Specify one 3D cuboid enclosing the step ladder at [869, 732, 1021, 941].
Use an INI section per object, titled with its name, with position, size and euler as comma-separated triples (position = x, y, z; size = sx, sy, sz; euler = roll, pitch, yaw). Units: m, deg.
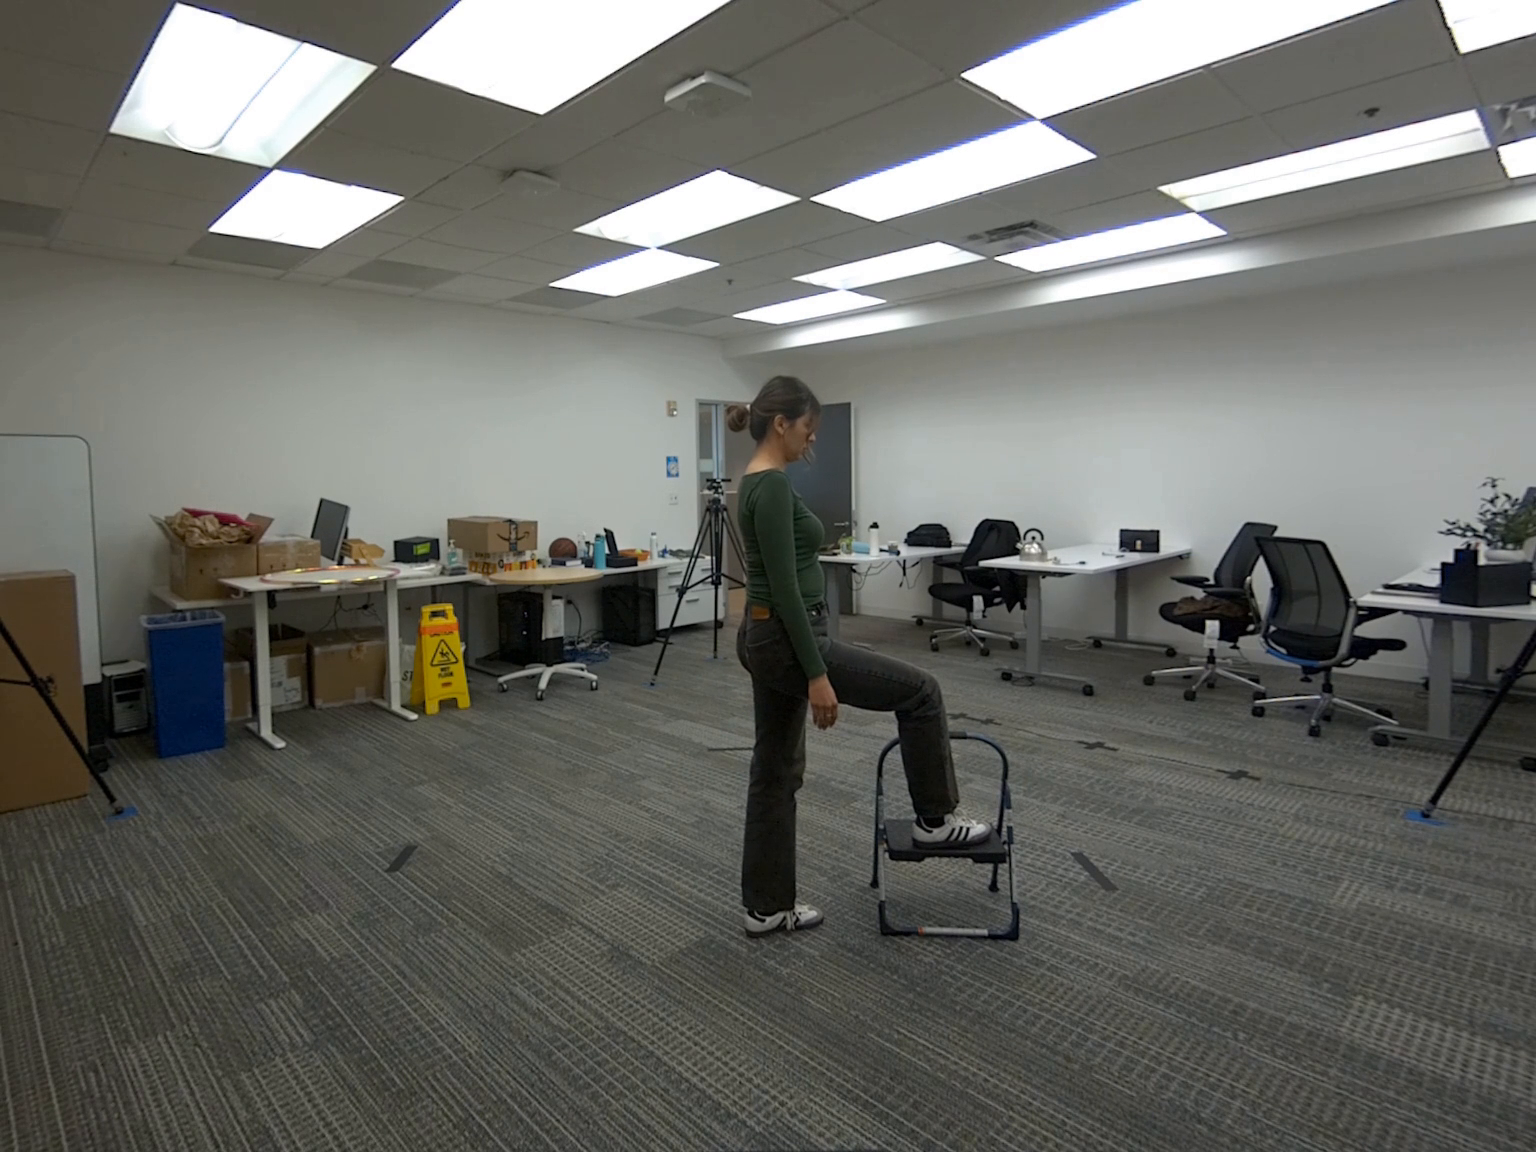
[step ladder]
position = 0.557, 0.780, 2.731
size = 0.432, 0.604, 0.349
euler = 0, 3, 4
